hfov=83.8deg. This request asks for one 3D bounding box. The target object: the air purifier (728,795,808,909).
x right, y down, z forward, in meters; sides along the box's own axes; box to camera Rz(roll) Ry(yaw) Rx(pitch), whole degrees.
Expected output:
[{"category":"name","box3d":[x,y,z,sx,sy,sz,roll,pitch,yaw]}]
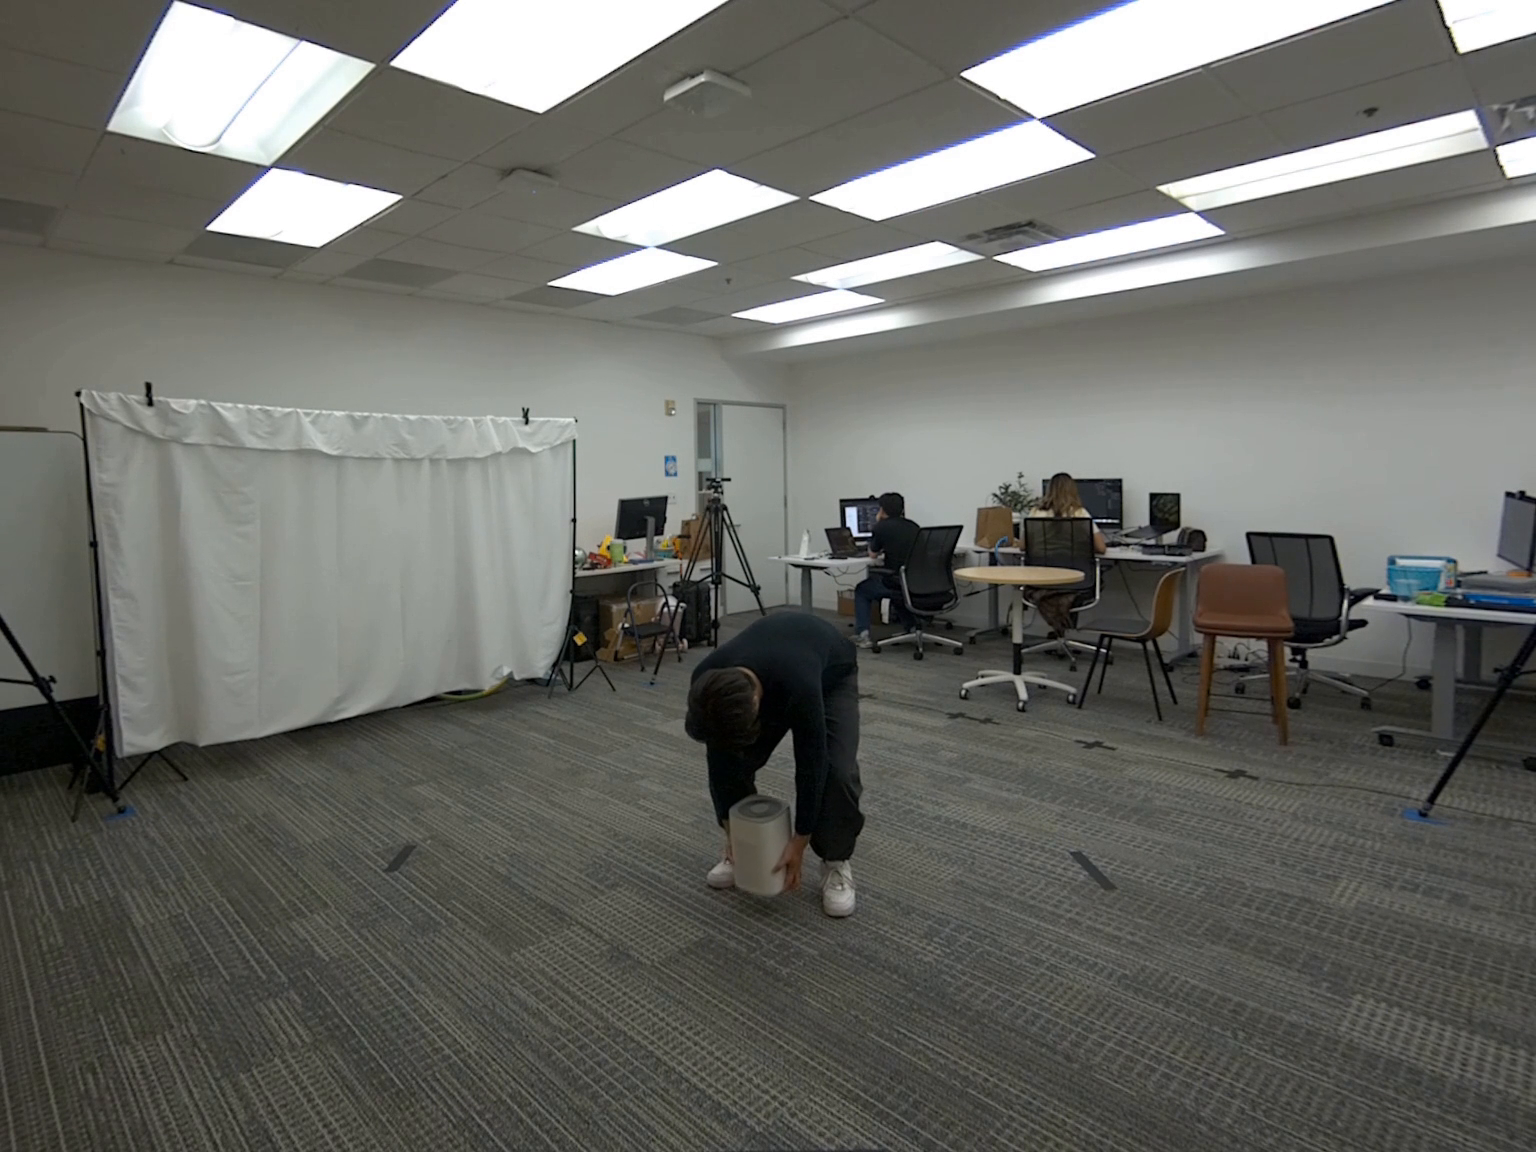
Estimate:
[{"category":"air purifier","box3d":[-0.001,0.878,2.752,0.176,0.263,0.168,0,9,34]}]
